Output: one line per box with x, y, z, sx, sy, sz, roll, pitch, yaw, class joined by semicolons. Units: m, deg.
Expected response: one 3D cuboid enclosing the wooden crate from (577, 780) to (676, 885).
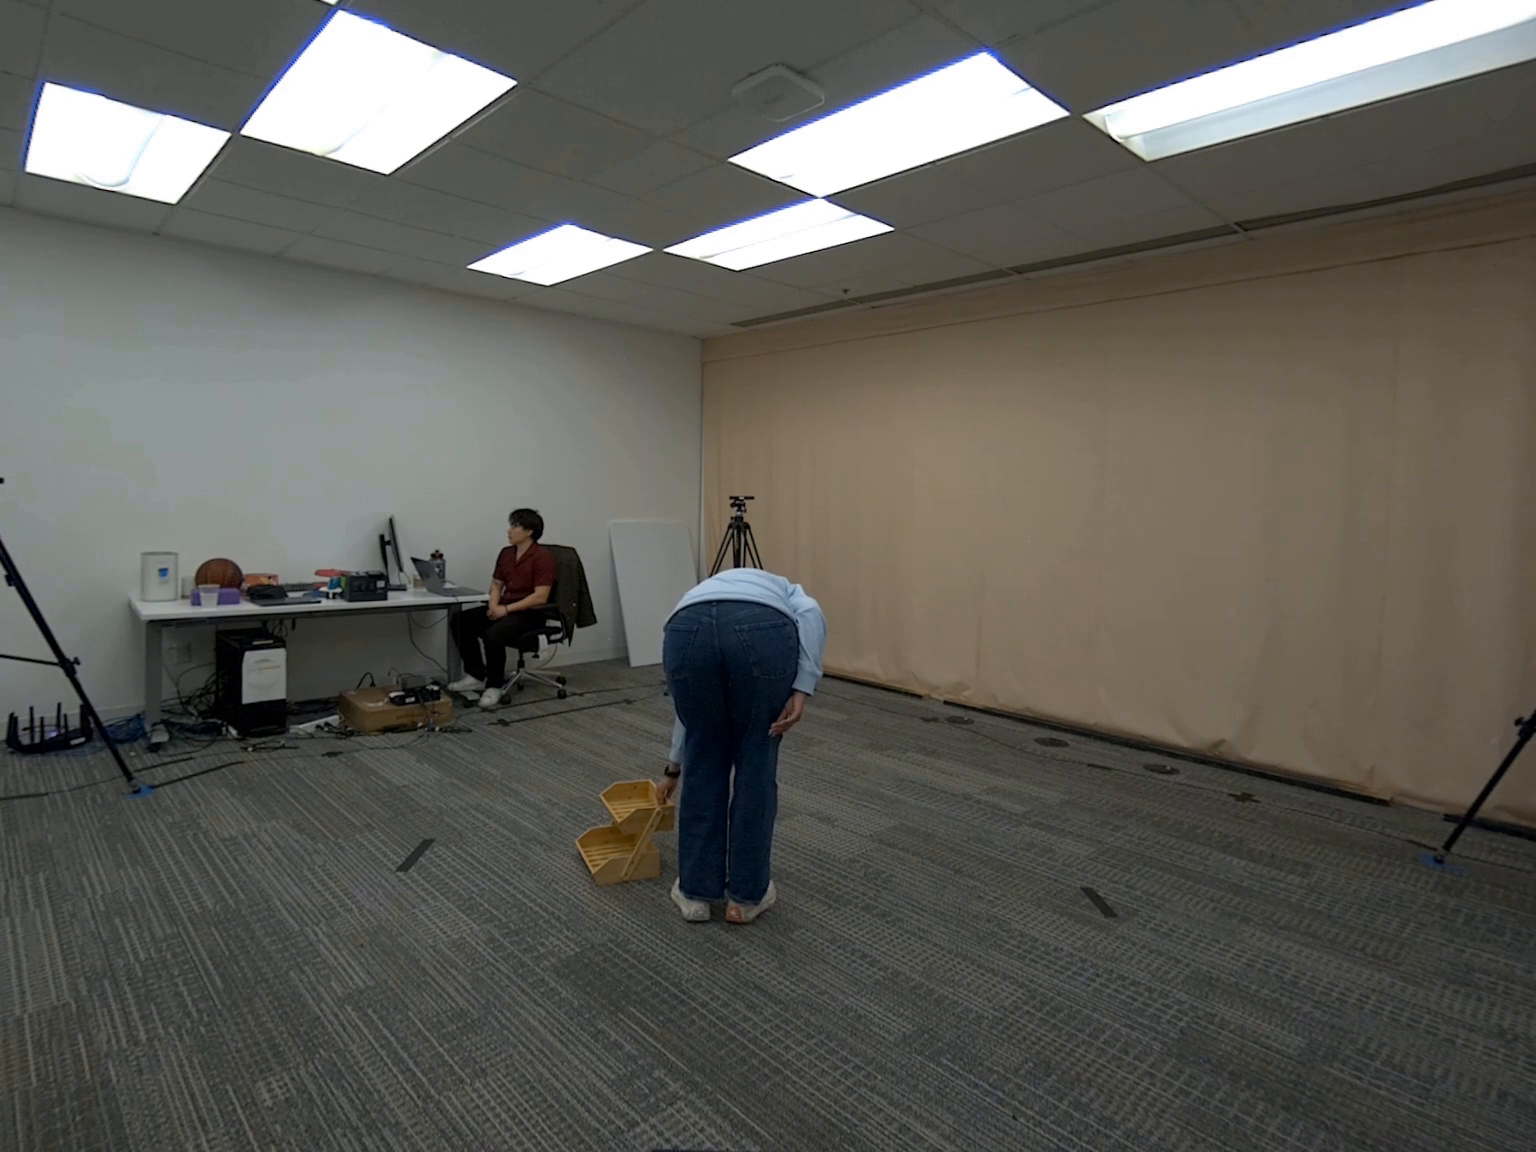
-0.555;0.954;3.177;0.296;0.272;0.331;1;5;-25;wooden crate
